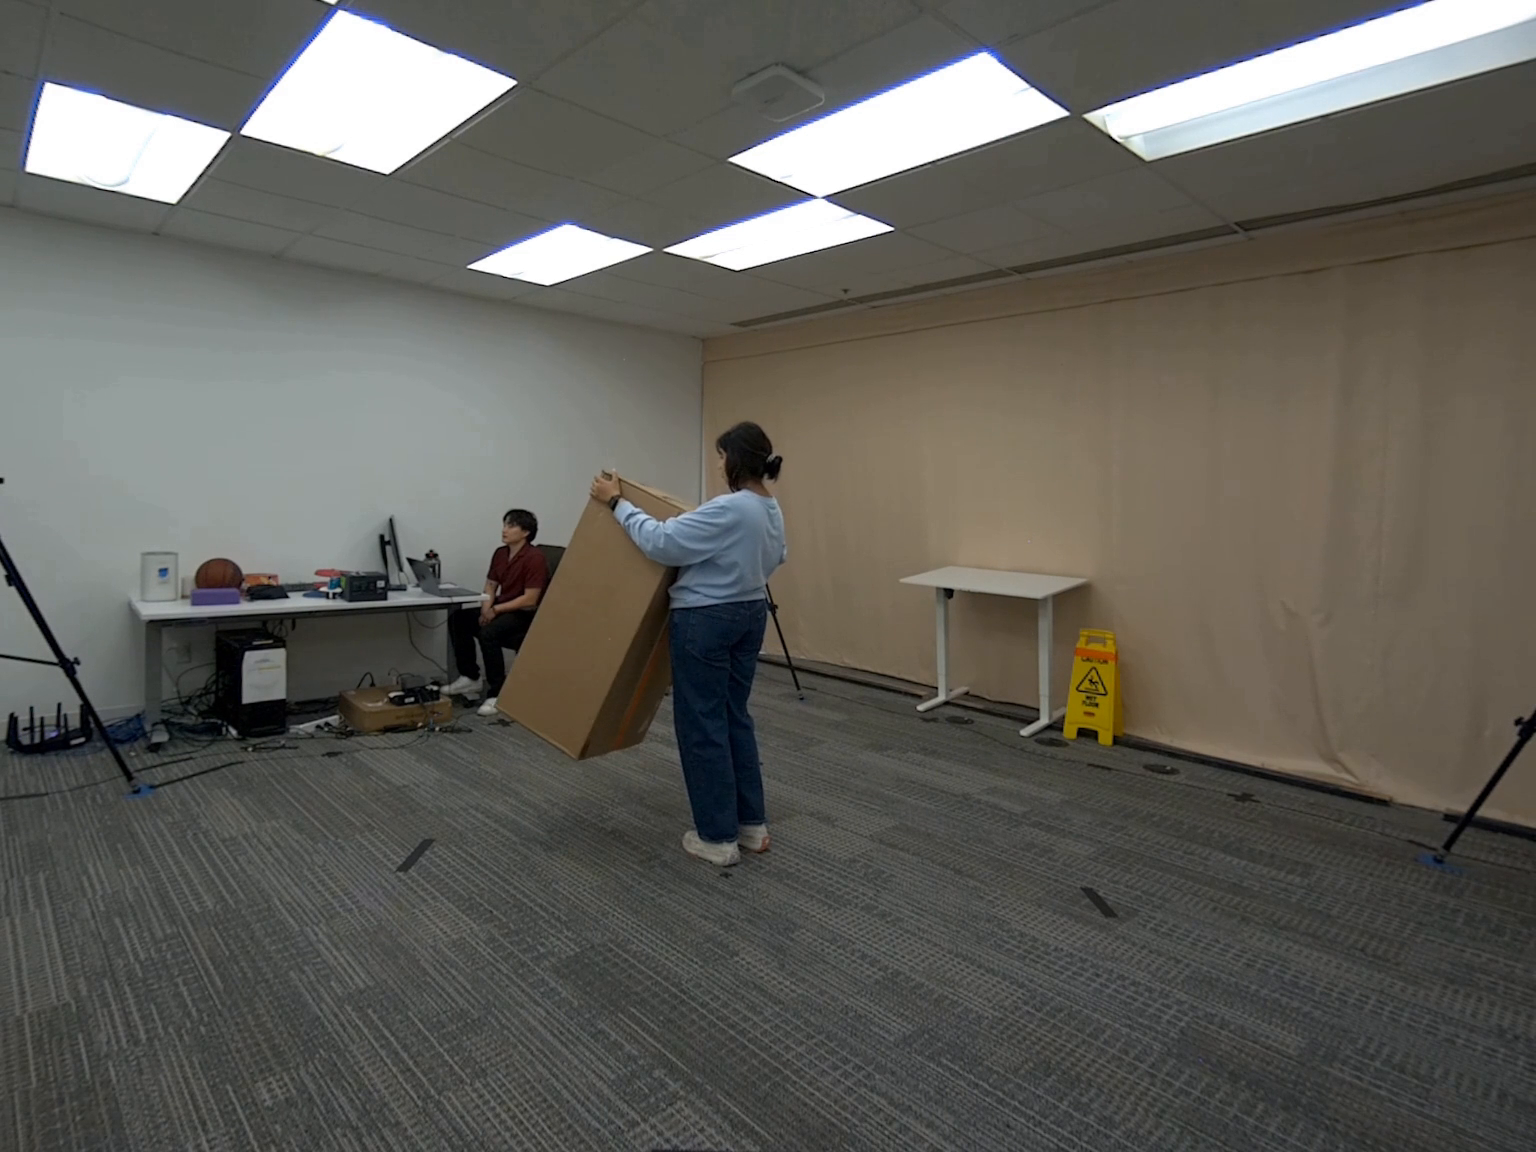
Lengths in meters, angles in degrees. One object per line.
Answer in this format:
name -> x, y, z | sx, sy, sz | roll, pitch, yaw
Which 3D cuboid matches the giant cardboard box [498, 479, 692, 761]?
giant cardboard box -> -0.594, 0.163, 3.435 | 0.456, 1.025, 0.573 | 27, 4, 19
